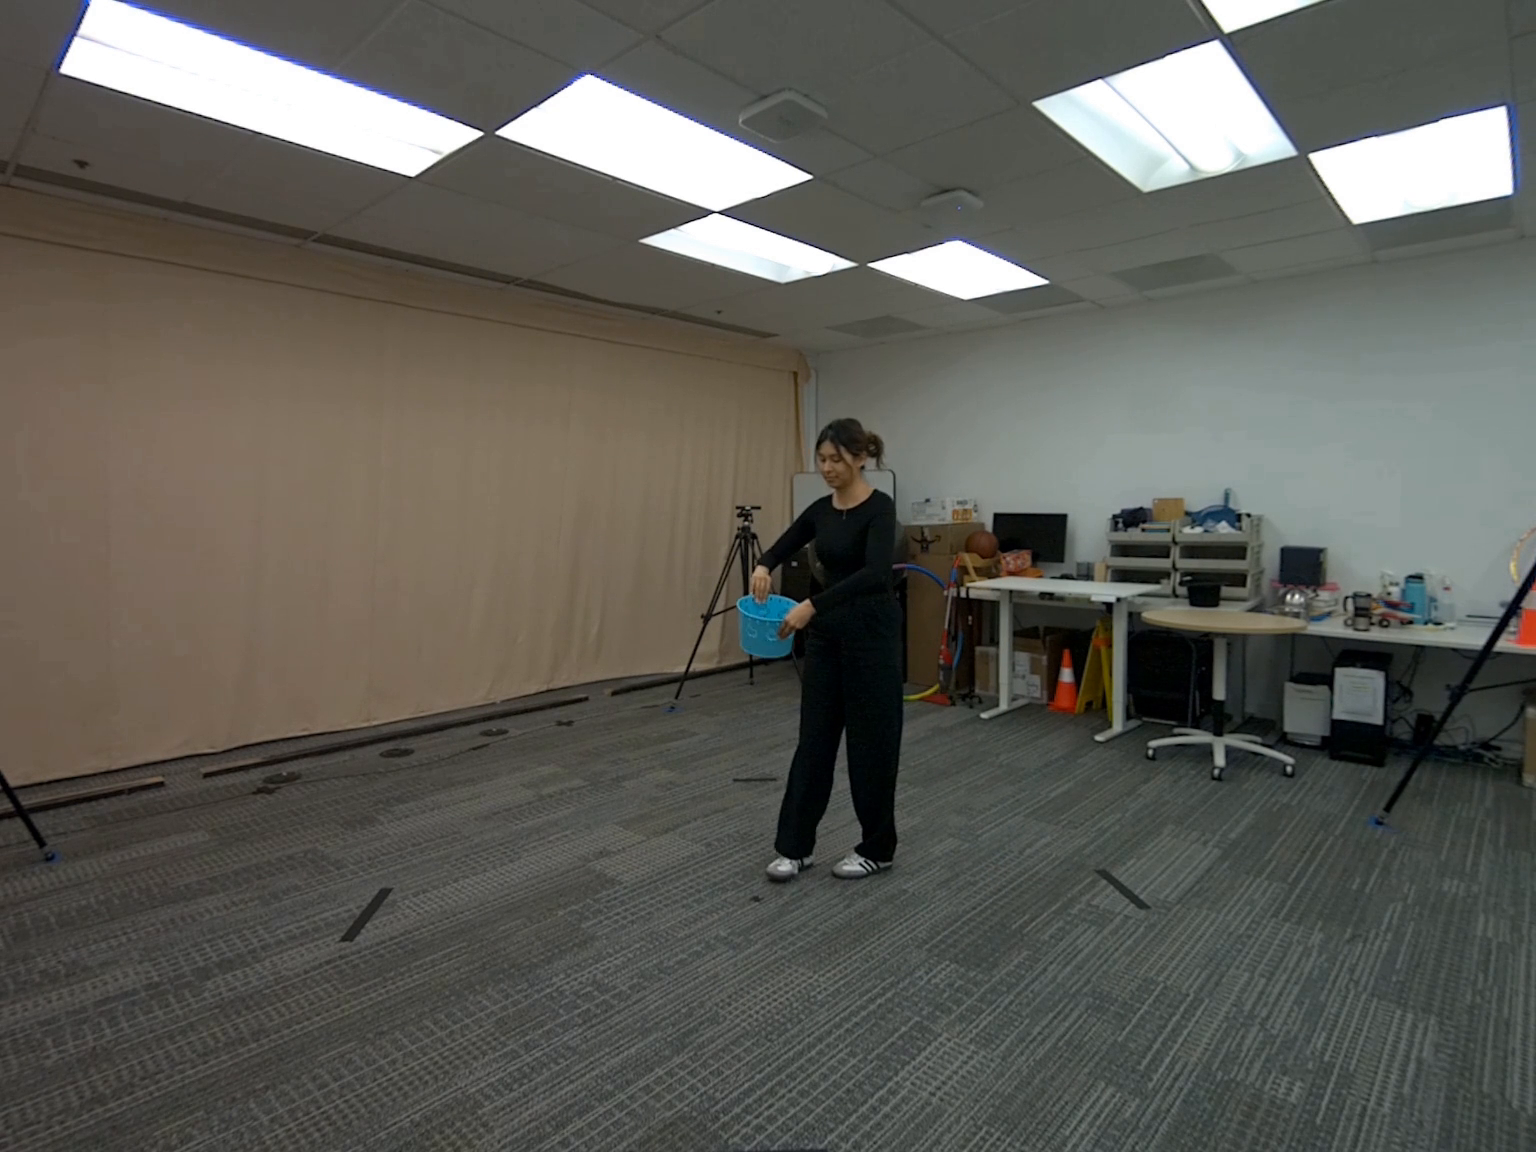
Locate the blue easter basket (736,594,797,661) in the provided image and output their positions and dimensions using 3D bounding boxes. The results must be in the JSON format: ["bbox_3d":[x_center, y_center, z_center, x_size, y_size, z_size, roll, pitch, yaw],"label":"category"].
[{"bbox_3d":[0.015,0.181,2.952,0.243,0.154,0.246,5,17,-3],"label":"blue easter basket"}]
